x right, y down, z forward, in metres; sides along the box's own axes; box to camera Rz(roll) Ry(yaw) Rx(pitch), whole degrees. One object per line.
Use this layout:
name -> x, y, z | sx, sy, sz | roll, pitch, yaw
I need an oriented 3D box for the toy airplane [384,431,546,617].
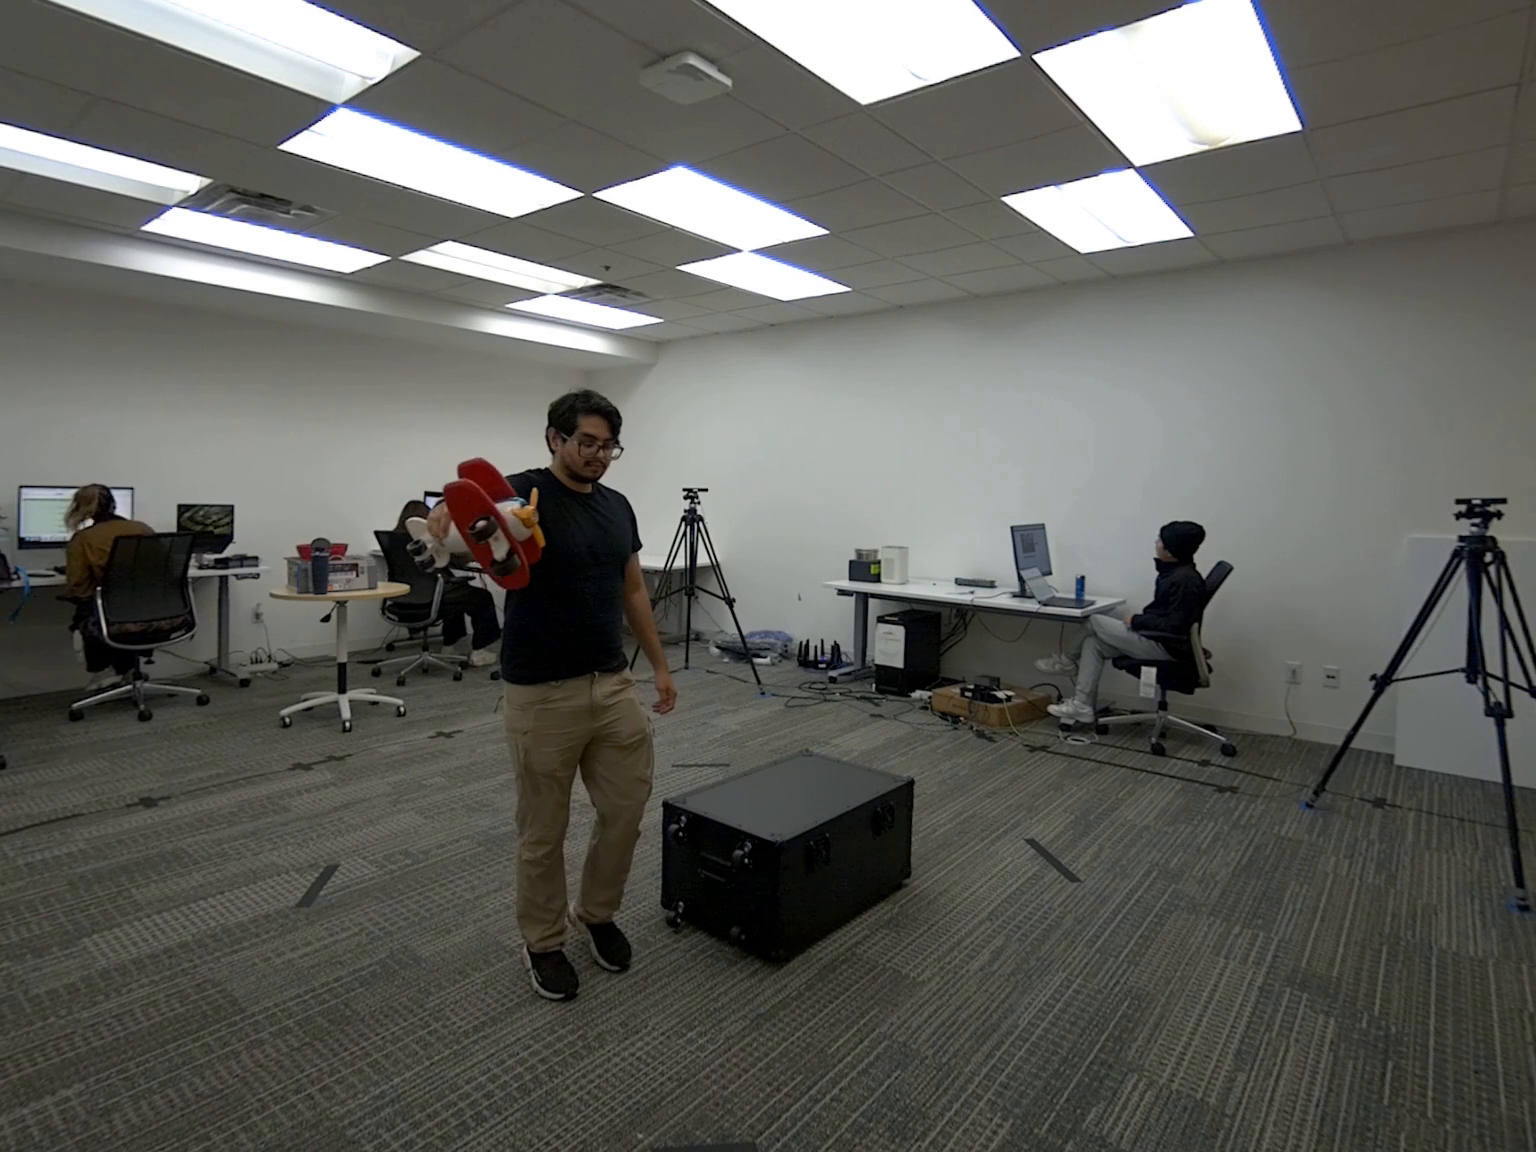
toy airplane -> -0.577, -0.100, 1.640 | 0.262, 0.246, 0.158 | 21, 42, 6
